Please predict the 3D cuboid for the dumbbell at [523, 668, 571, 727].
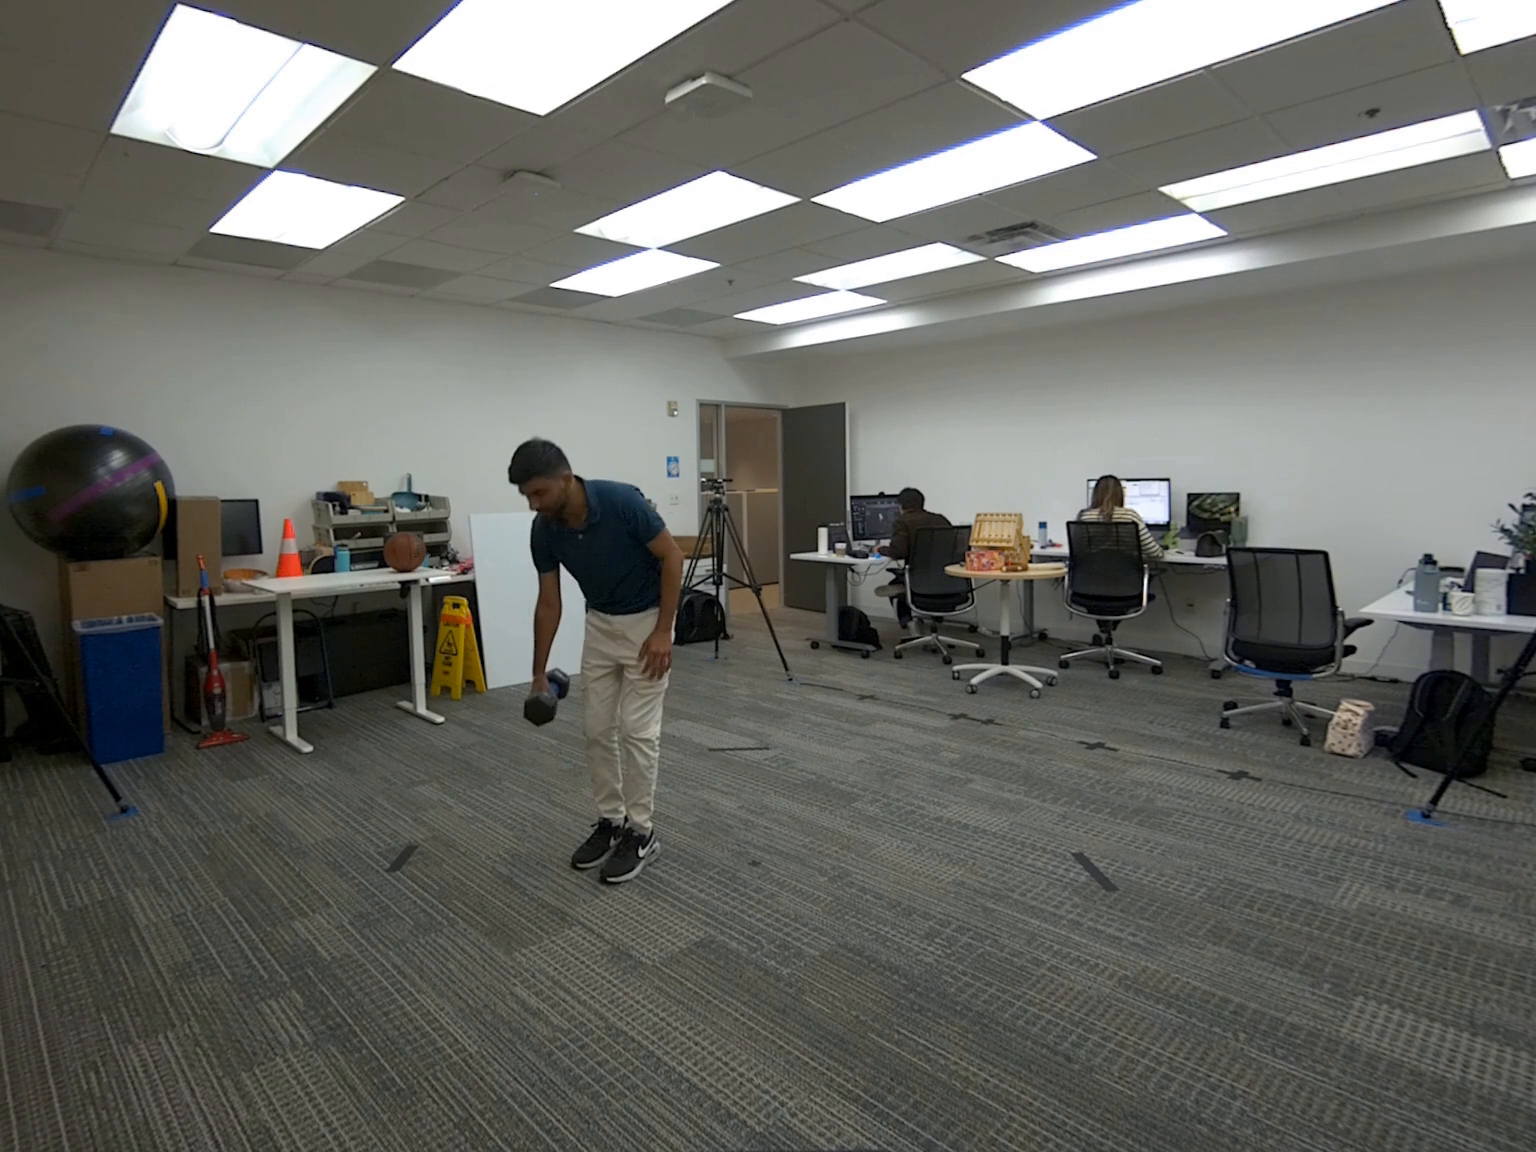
[{"bbox_3d":[-0.806,0.454,3.147,0.122,0.108,0.297,33,10,-8],"label":"dumbbell"}]
